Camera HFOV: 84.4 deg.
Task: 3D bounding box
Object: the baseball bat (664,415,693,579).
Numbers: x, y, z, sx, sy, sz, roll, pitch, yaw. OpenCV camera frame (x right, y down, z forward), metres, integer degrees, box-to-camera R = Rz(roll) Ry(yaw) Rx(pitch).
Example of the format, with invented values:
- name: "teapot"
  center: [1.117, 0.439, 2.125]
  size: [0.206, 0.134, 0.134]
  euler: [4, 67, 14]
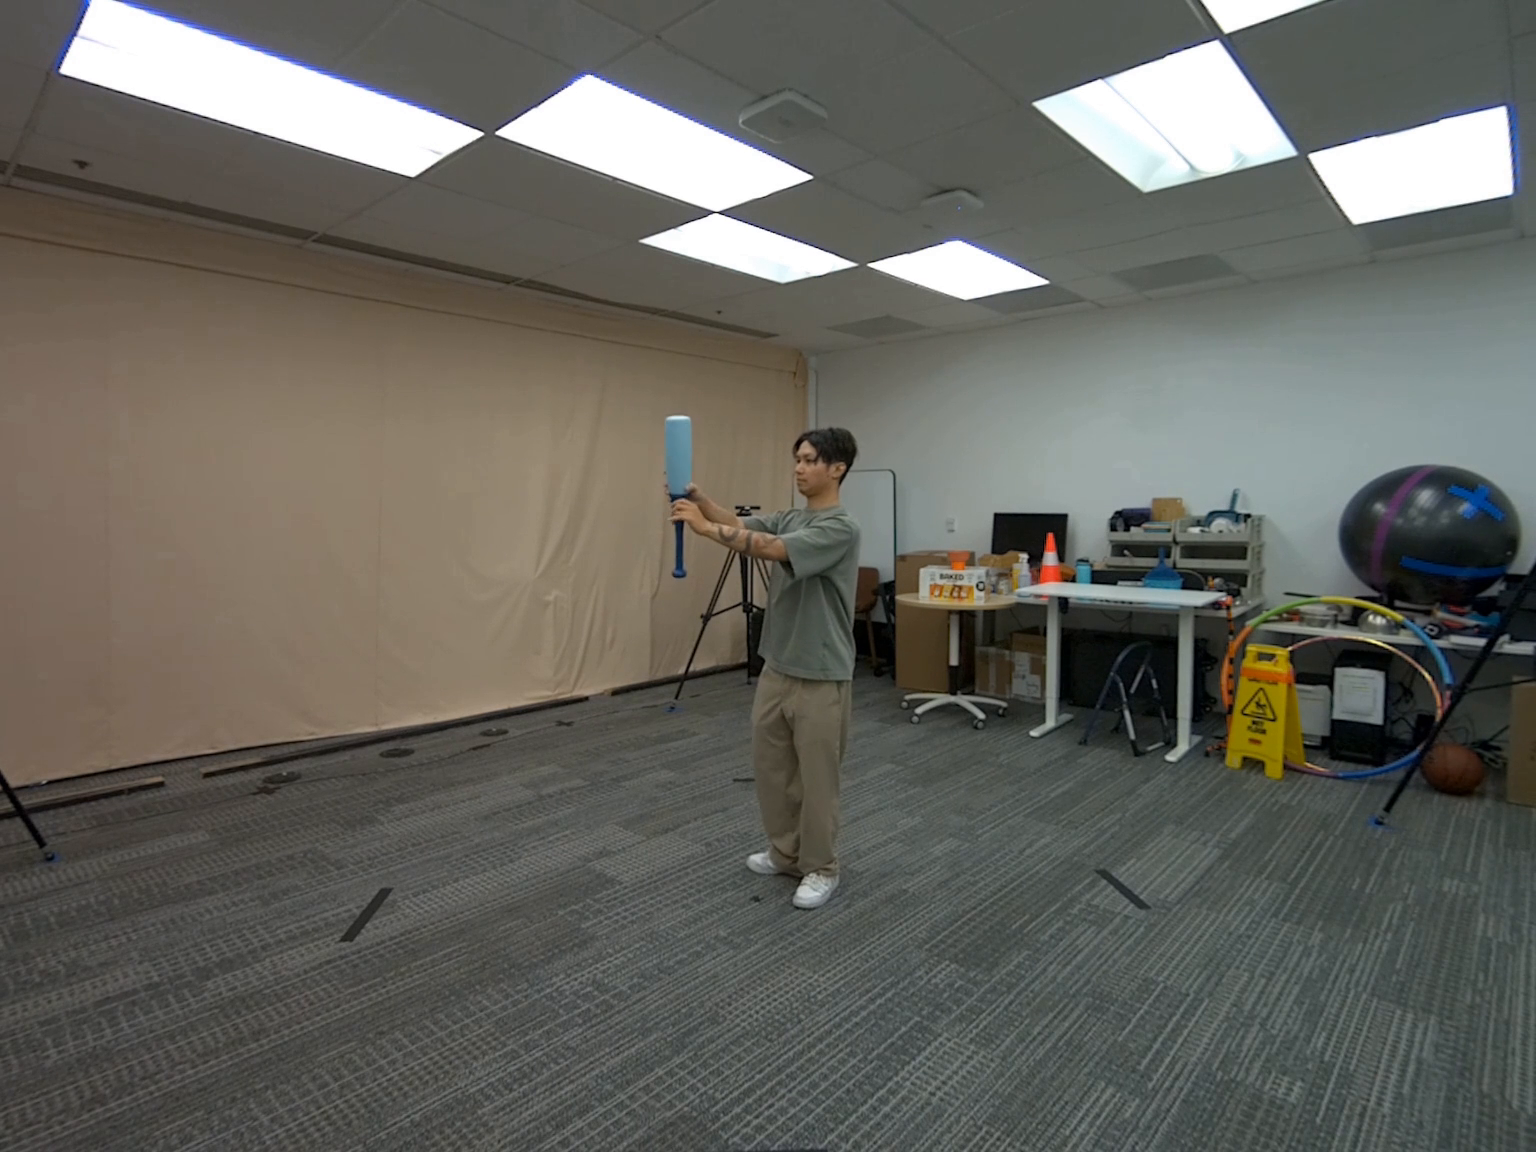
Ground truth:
- name: "baseball bat"
  center: [-0.295, -0.256, 2.789]
  size: [0.089, 0.538, 0.090]
  euler: [-2, 14, -1]
